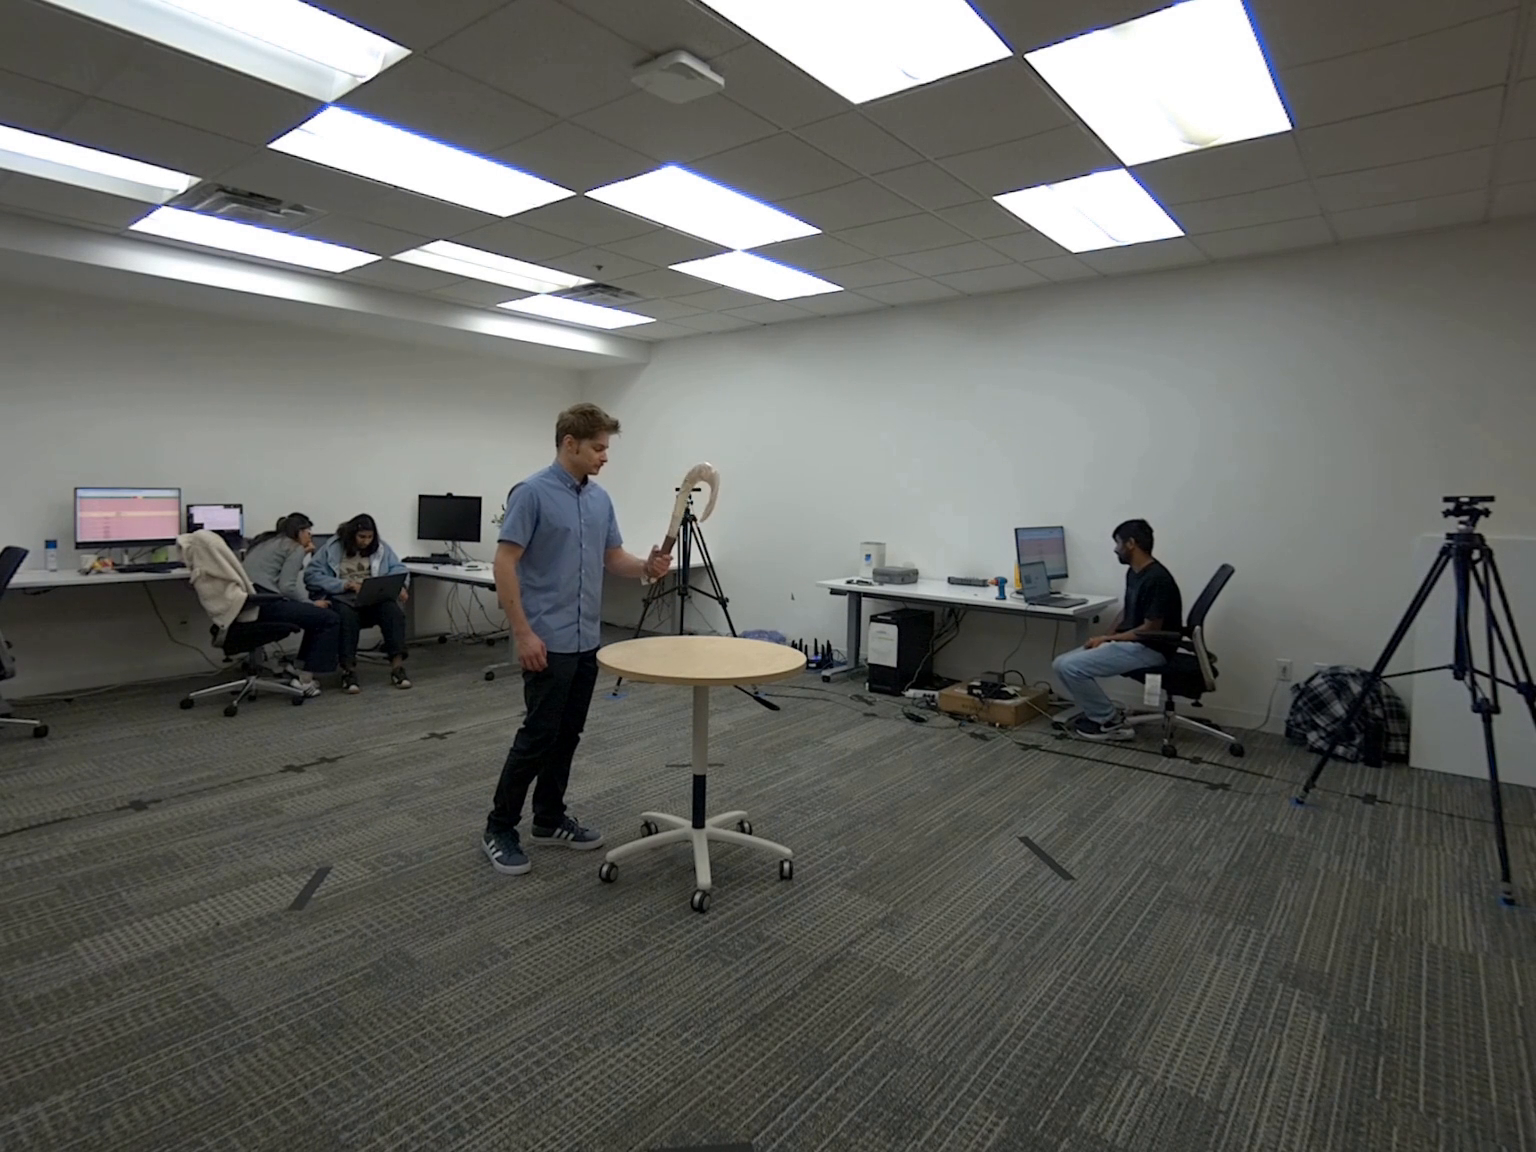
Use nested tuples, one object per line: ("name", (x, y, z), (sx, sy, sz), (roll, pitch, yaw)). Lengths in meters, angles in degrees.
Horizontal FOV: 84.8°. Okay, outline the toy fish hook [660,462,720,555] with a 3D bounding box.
("toy fish hook", (-0.322, -0.166, 3.132), (0.046, 0.504, 0.234), (18, 11, -37))
